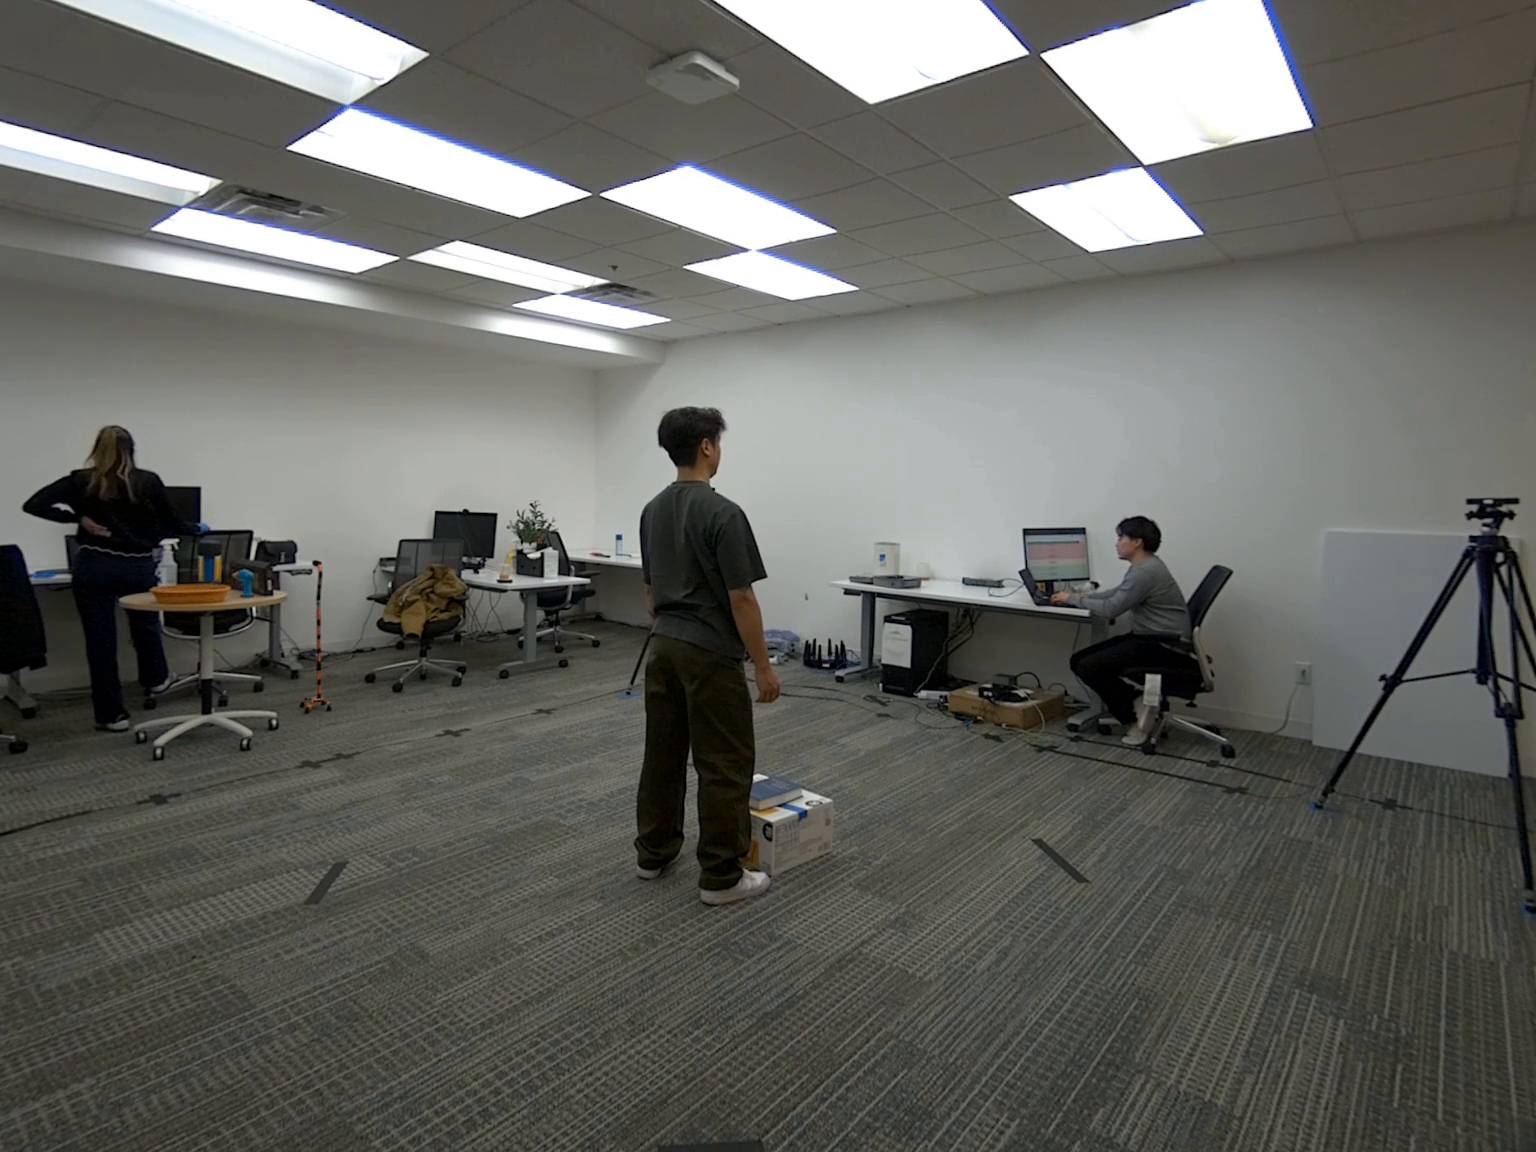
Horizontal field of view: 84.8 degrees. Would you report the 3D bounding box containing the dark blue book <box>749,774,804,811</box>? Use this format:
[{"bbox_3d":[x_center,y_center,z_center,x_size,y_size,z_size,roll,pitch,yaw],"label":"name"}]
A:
[{"bbox_3d":[-0.010,0.839,3.286,0.238,0.045,0.169,-4,7,-44],"label":"dark blue book"}]
